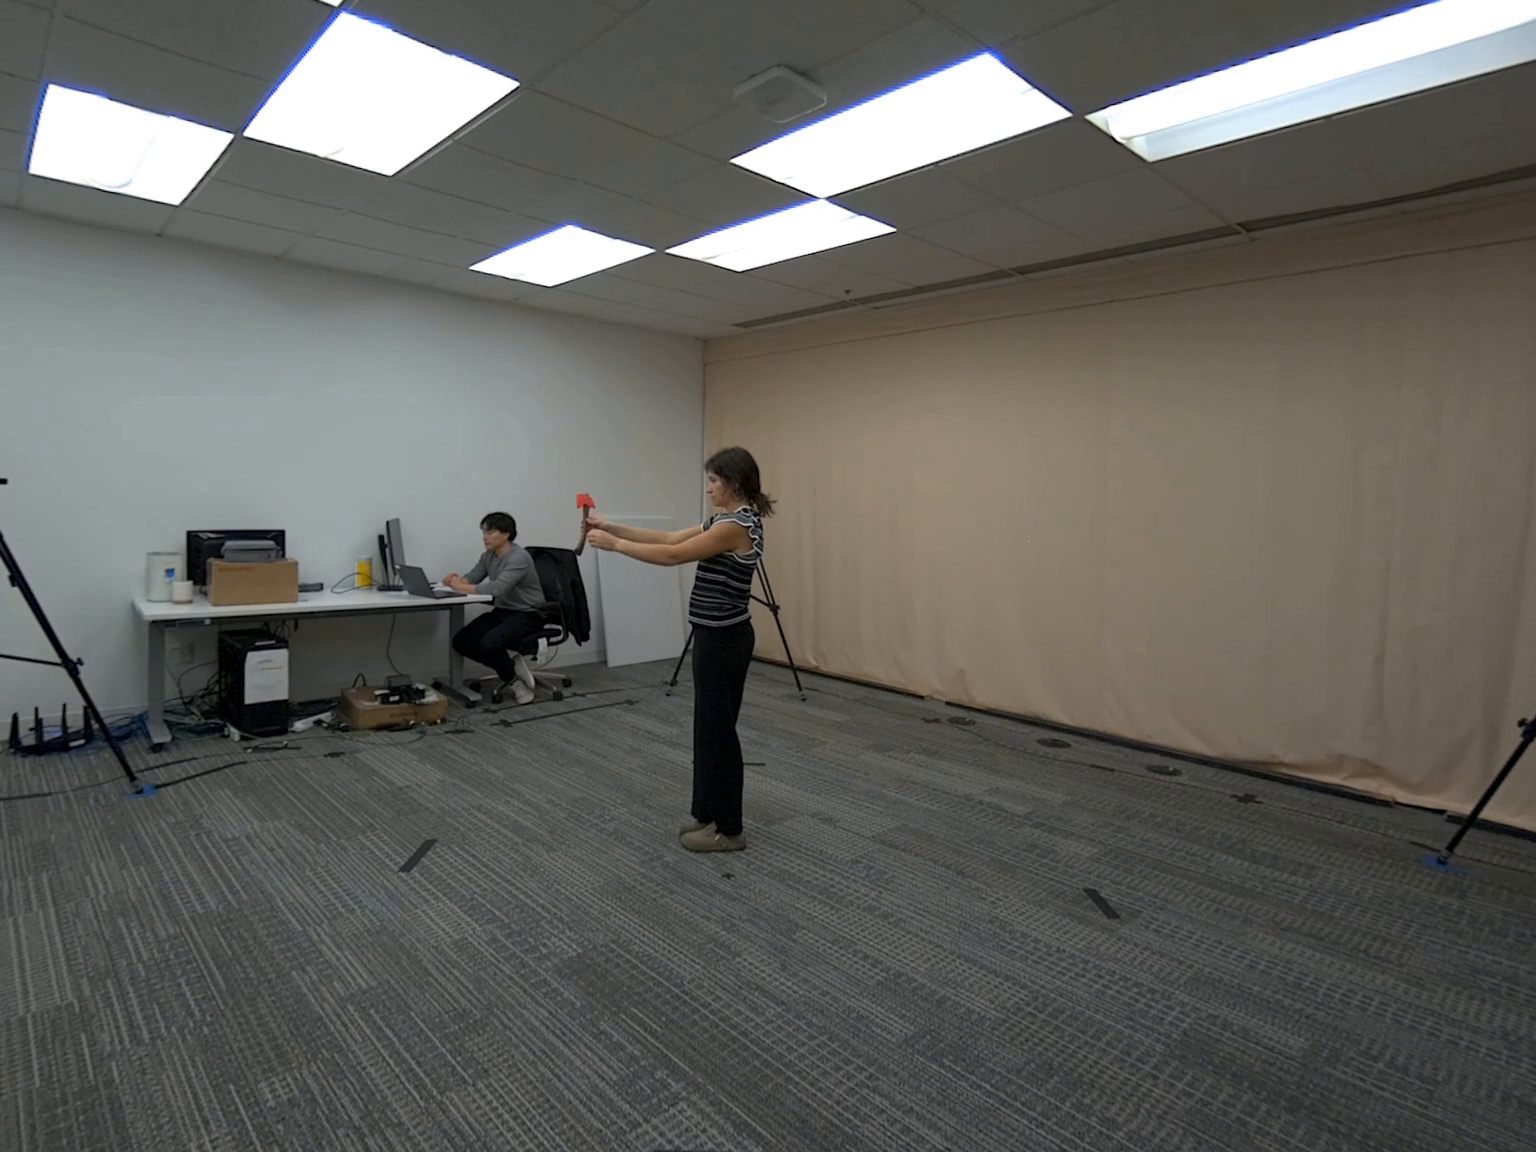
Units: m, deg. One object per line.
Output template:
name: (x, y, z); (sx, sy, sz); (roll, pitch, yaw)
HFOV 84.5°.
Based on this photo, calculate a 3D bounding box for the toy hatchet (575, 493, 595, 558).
toy hatchet: (-0.745, -0.221, 3.298); (0.030, 0.275, 0.127); (-12, -46, 19)
